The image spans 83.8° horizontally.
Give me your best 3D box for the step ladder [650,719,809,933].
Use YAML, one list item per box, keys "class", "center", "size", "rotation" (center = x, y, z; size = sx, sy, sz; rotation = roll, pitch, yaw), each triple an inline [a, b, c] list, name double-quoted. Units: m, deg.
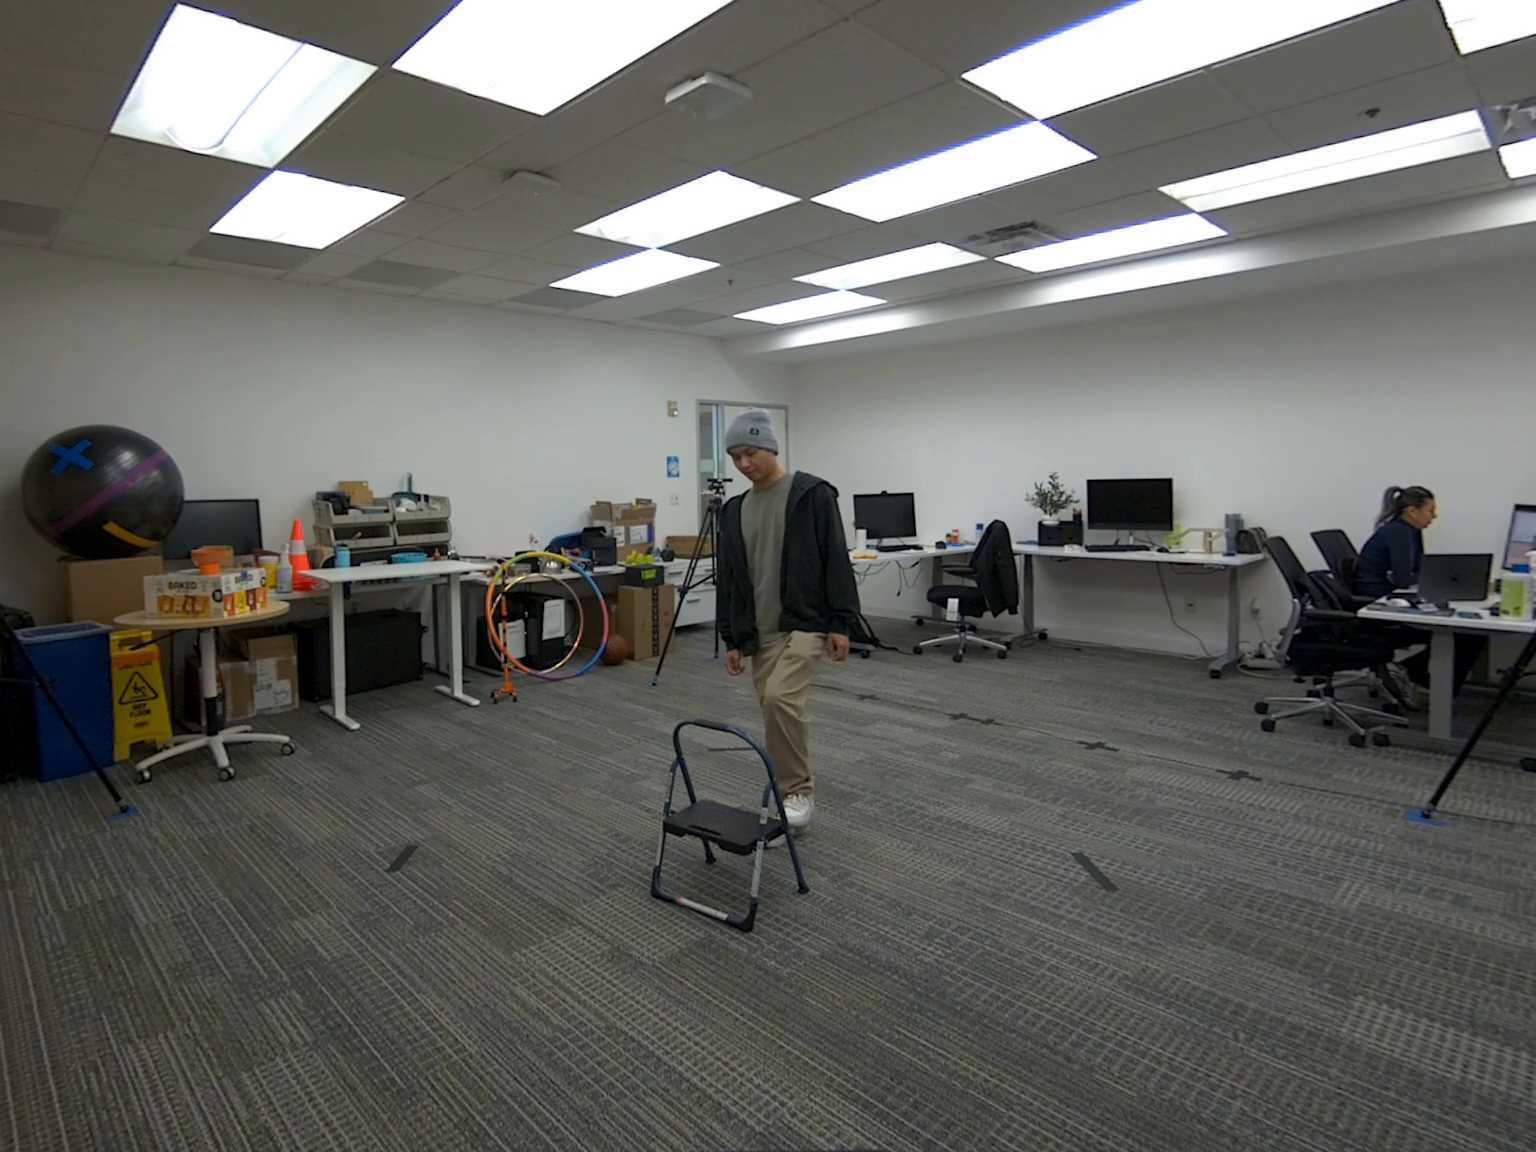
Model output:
- class: "step ladder"
  center: [-0.136, 0.770, 2.867]
  size: [0.443, 0.604, 0.341]
  rotation: [2, 5, 35]
